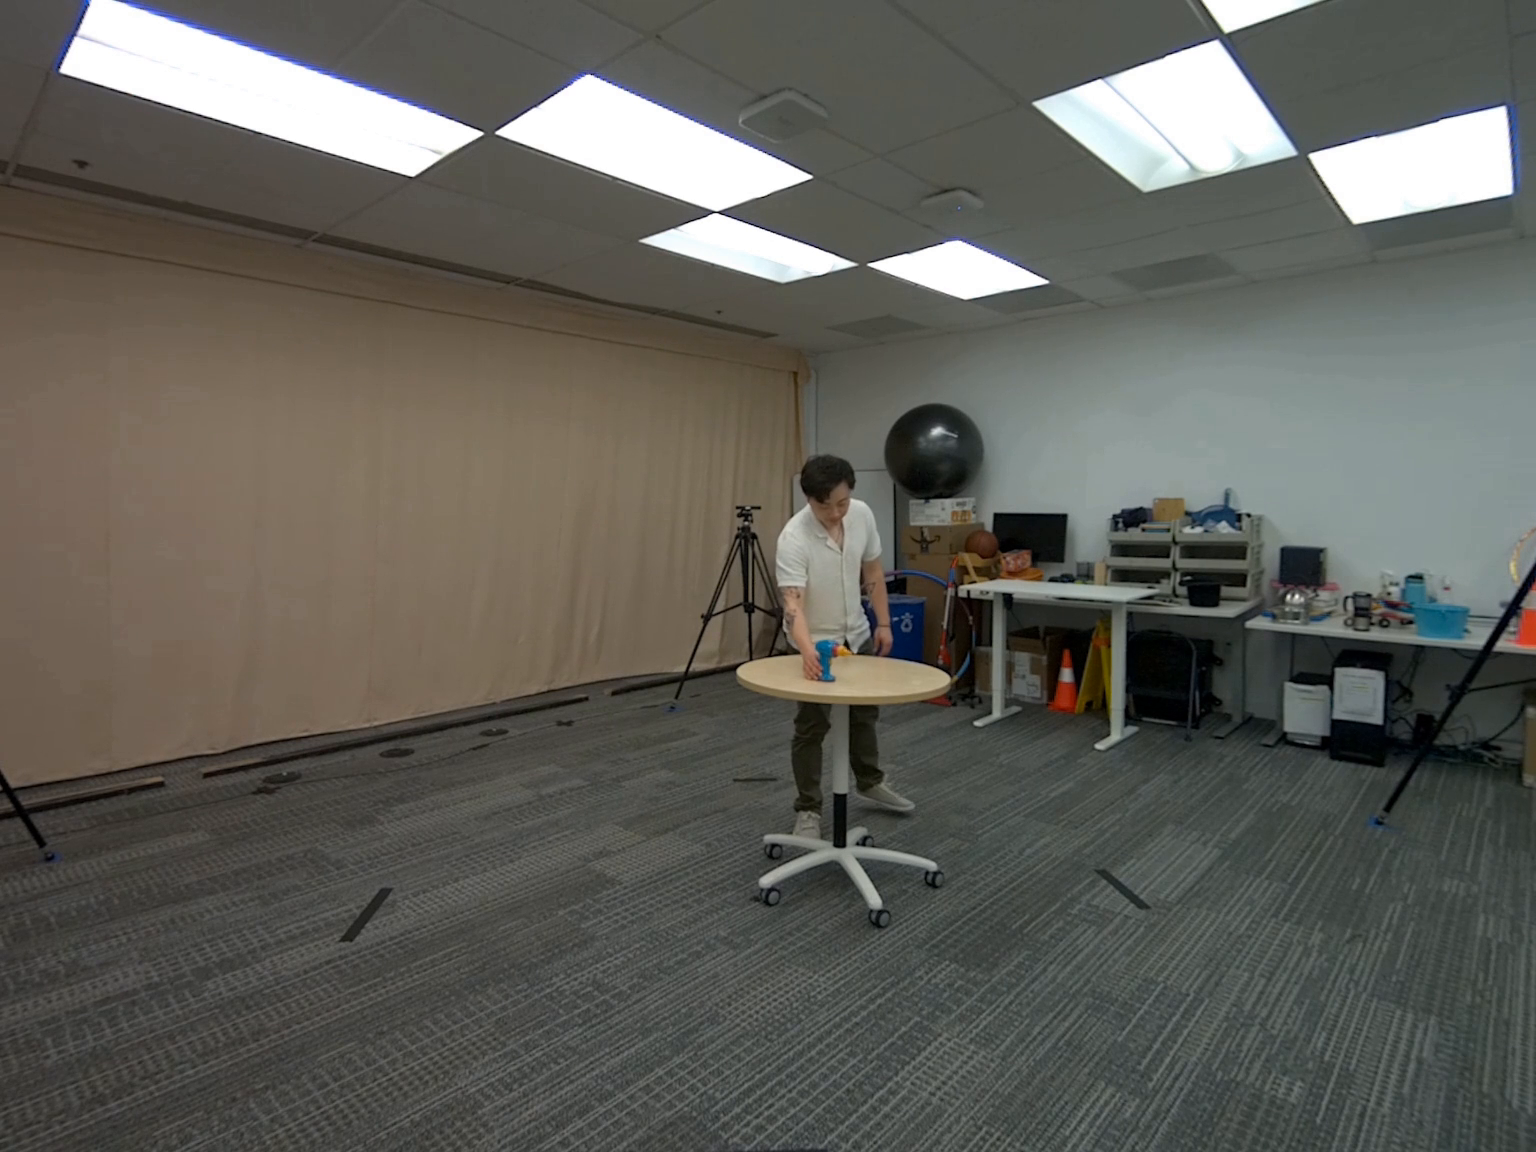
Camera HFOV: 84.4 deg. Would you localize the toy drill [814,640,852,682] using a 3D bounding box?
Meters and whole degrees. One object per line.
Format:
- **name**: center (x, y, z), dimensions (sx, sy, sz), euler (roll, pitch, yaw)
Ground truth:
- **toy drill**: center (0.242, 0.290, 2.914), dimensions (0.059, 0.146, 0.175), euler (-3, 5, -41)
